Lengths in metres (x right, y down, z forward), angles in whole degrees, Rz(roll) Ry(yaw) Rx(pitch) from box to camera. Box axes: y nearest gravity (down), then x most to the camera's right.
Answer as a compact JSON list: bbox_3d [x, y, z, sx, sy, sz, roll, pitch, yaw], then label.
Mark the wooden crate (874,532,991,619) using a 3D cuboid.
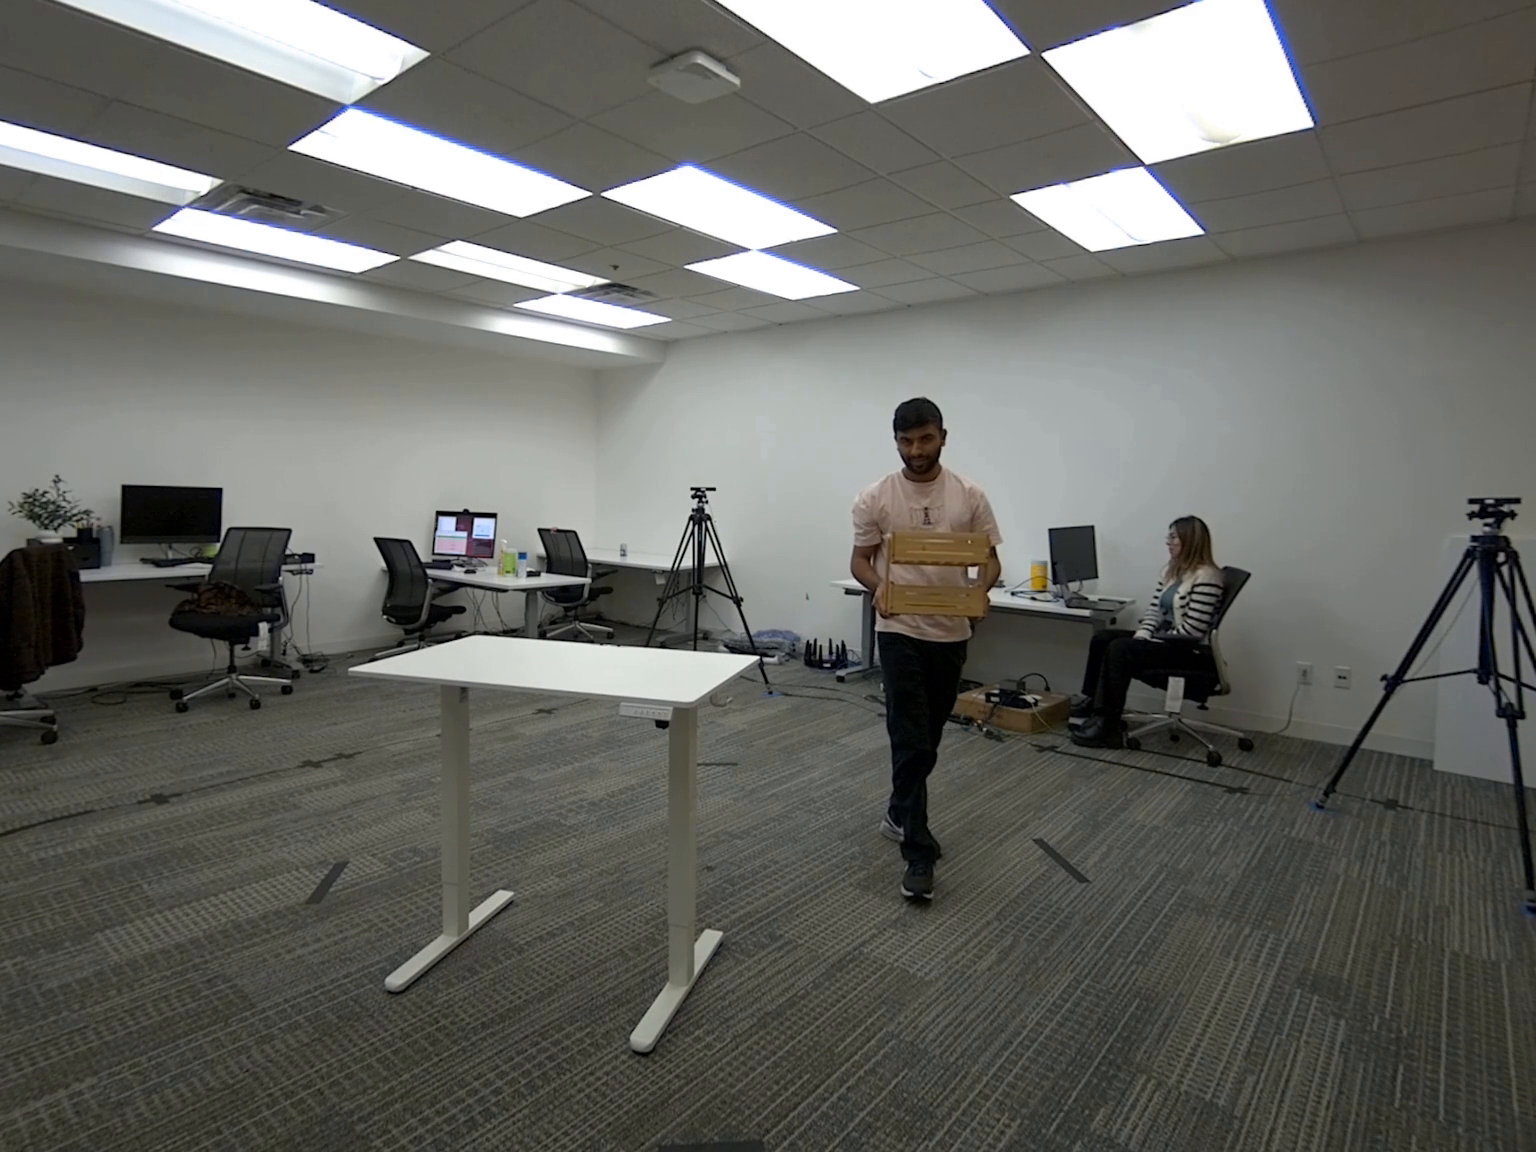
[{"bbox_3d":[0.561,-0.022,2.850,0.326,0.272,0.301,1,4,4],"label":"wooden crate"}]
